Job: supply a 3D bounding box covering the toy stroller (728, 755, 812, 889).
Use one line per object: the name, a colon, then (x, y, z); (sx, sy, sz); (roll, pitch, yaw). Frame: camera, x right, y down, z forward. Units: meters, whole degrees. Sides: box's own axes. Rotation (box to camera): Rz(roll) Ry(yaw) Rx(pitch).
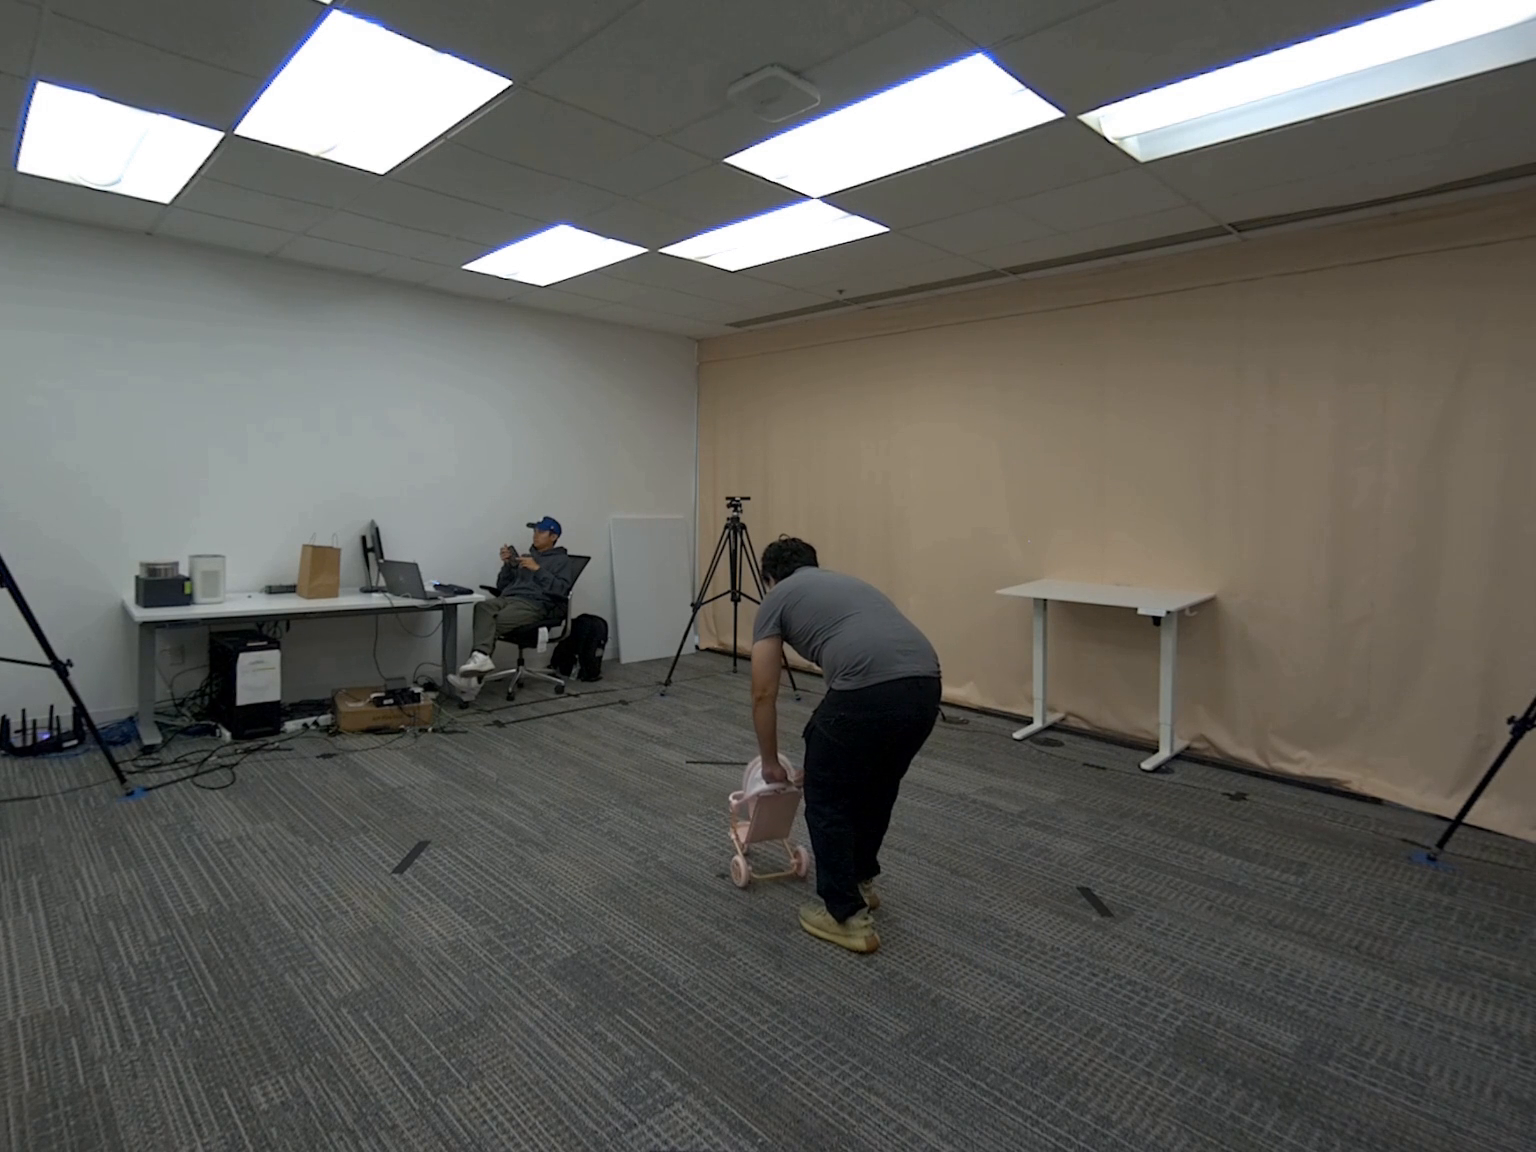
toy stroller: (-0.015, 0.884, 3.116); (0.277, 0.528, 0.350); (0, 21, -19)
